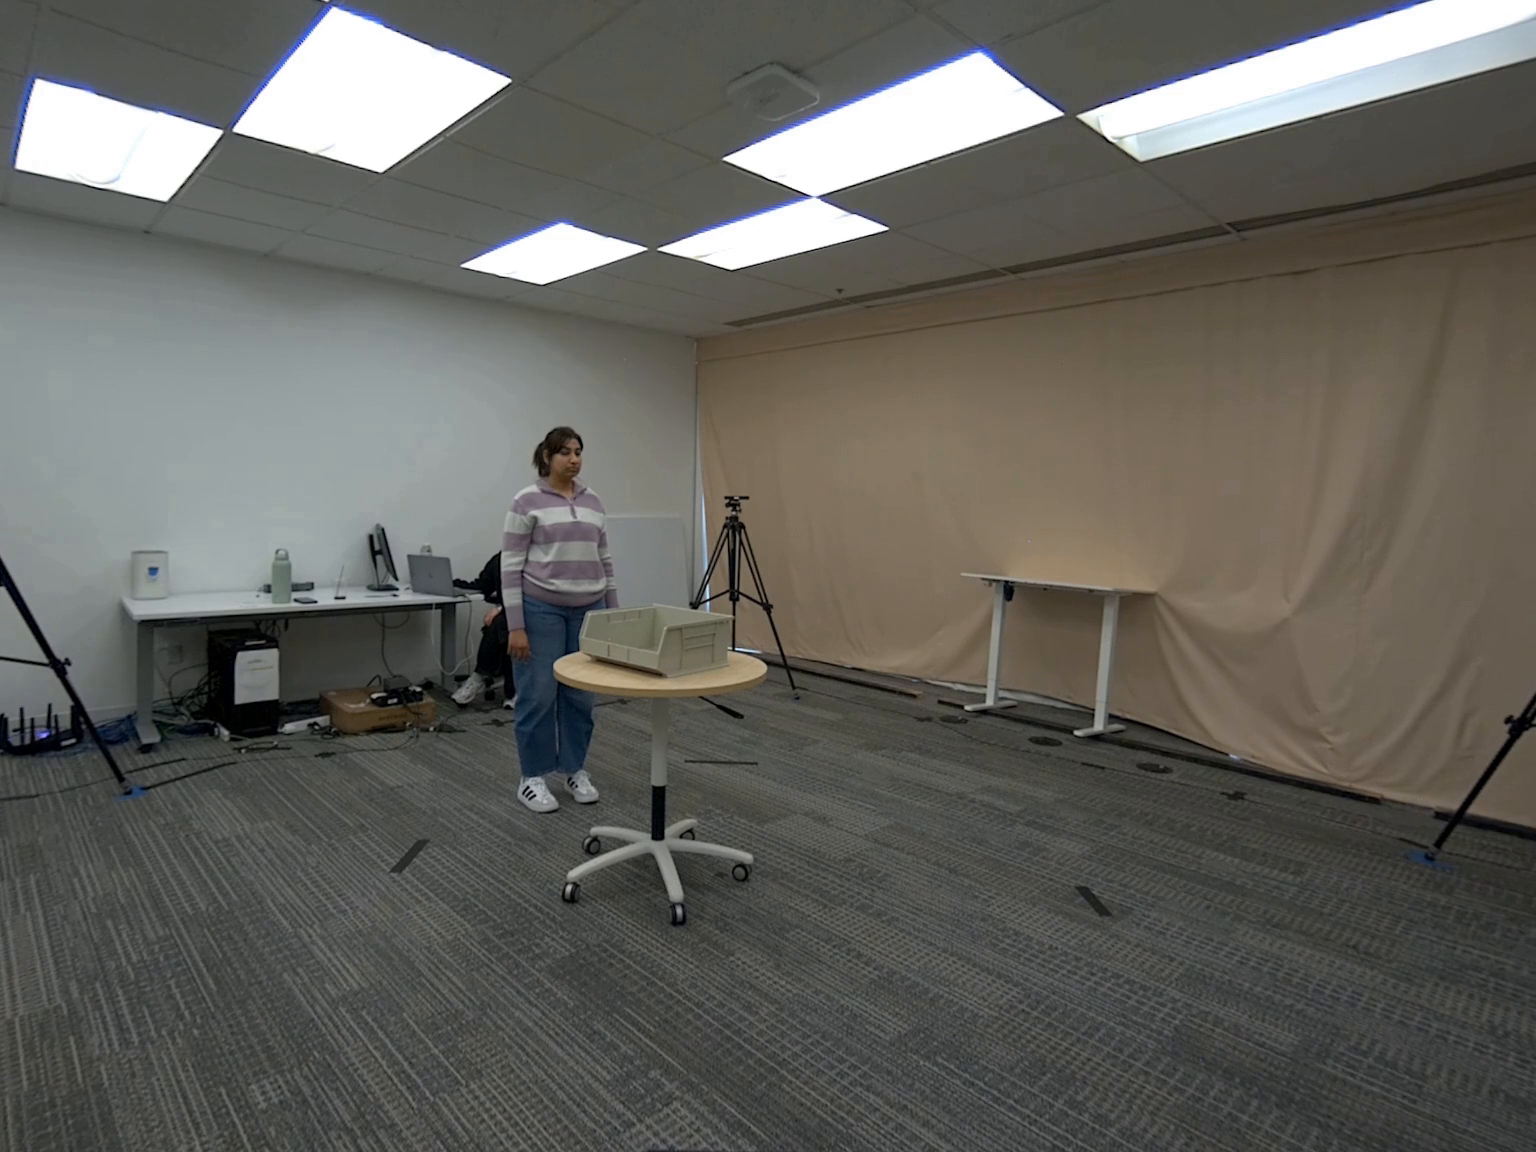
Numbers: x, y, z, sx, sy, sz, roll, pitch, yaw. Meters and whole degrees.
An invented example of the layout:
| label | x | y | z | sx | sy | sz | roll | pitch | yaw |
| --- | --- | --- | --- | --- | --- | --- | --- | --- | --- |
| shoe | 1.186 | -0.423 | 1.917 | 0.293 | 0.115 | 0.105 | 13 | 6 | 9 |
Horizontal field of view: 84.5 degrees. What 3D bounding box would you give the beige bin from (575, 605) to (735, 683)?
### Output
| label | x | y | z | sx | sy | sz | roll | pitch | yaw |
| --- | --- | --- | --- | --- | --- | --- | --- | --- | --- |
| beige bin | -0.407 | 0.231 | 3.048 | 0.433 | 0.188 | 0.369 | 5 | 5 | 39 |
